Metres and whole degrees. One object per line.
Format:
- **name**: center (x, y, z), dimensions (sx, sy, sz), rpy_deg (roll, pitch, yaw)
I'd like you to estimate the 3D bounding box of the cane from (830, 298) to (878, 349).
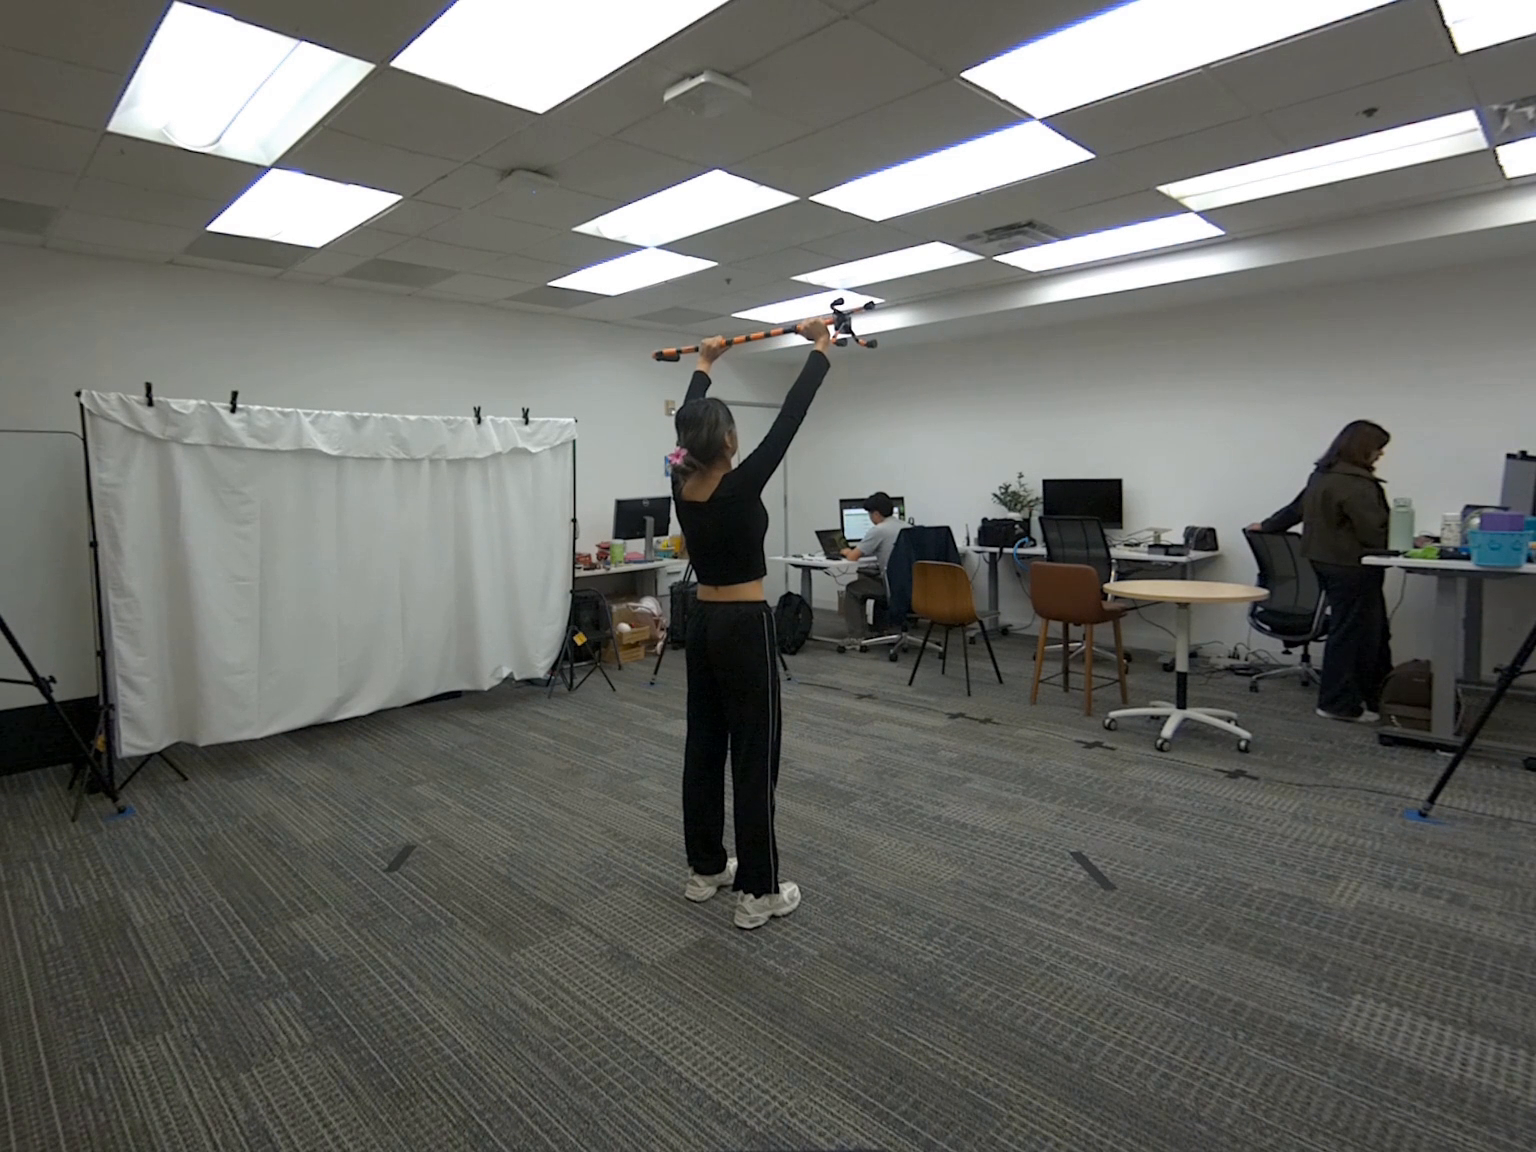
- **cane**: center (-0.071, -0.813, 2.977), dimensions (0.935, 0.151, 0.201), rpy_deg (3, 10, 41)
